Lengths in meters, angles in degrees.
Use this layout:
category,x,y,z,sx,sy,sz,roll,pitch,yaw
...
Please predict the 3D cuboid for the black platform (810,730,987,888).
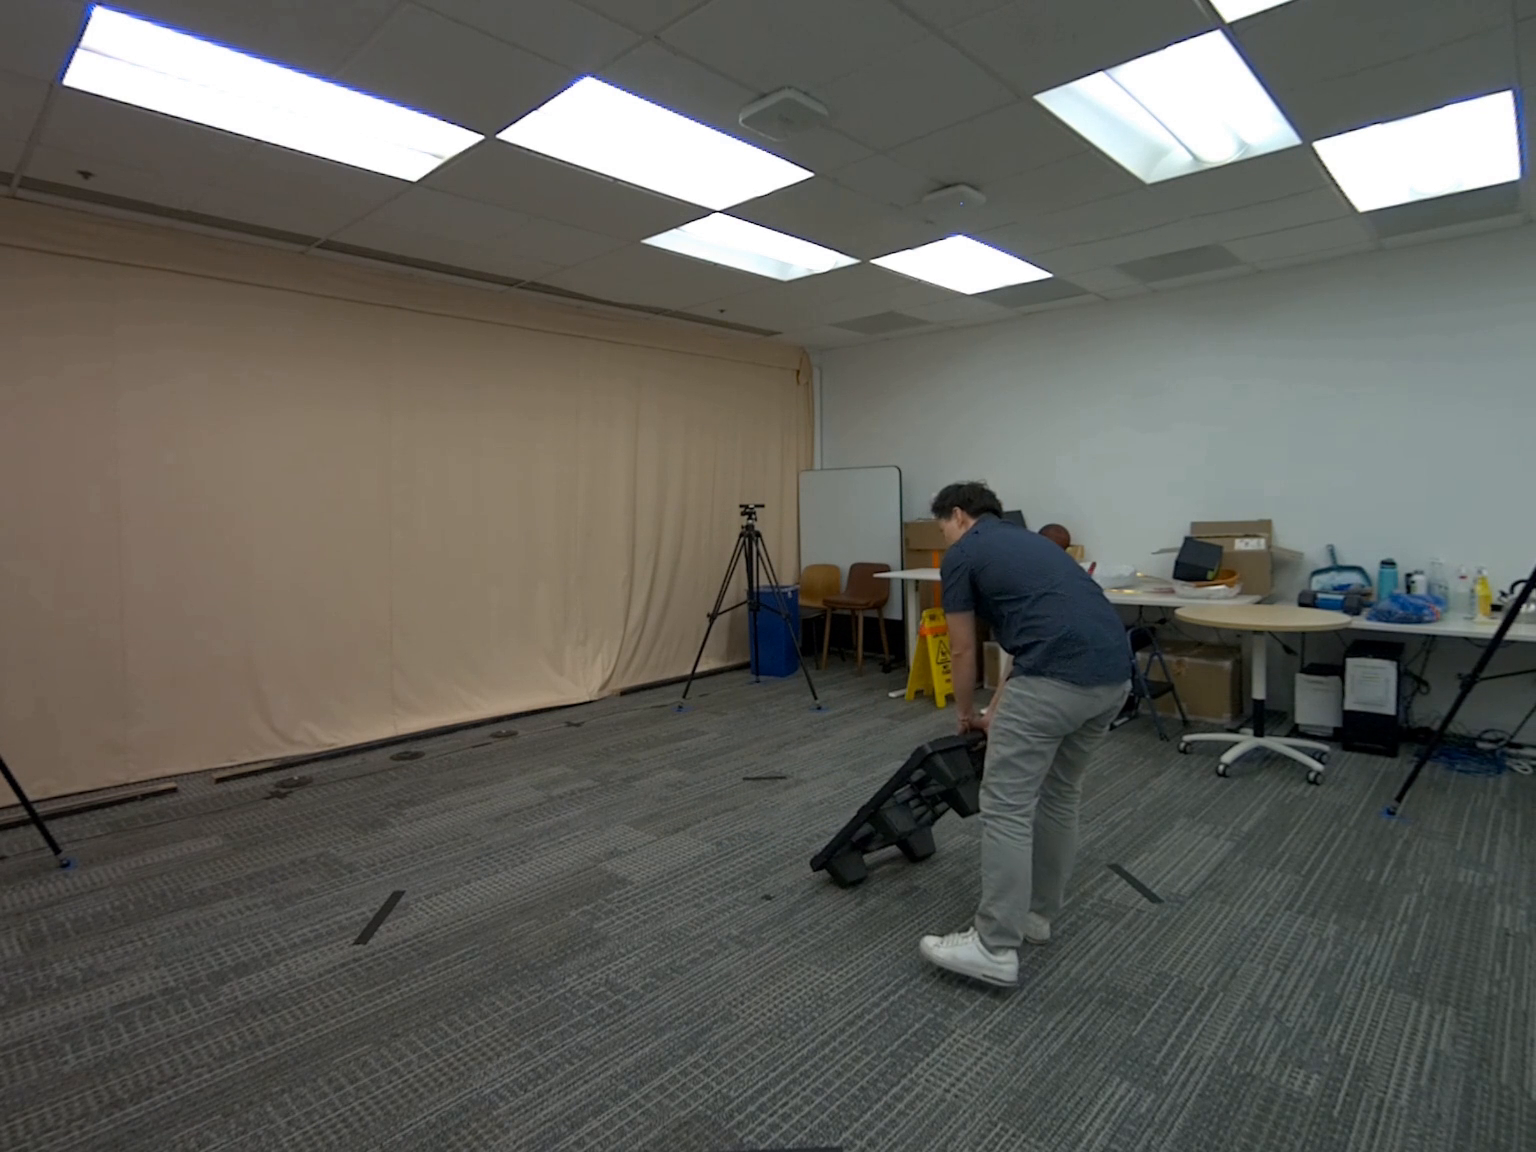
category,x,y,z,sx,sy,sz,roll,pitch,yaw
black platform,0.577,0.815,2.982,0.587,0.805,0.148,-4,49,-37
